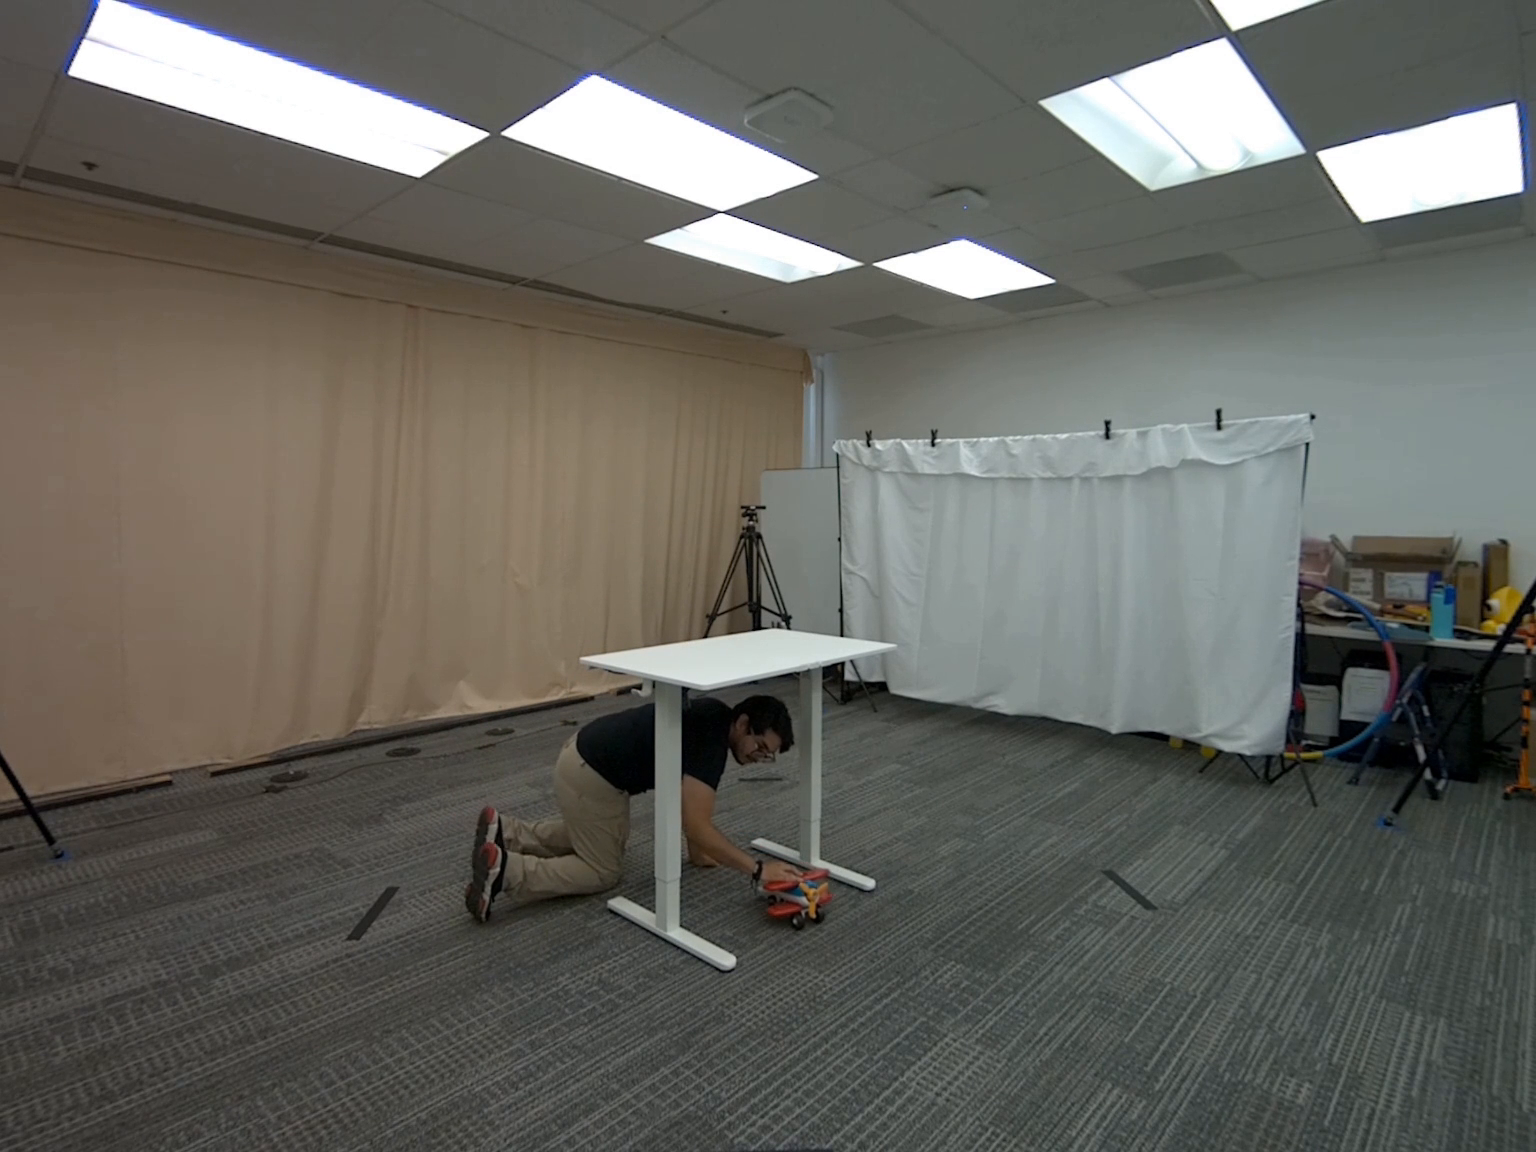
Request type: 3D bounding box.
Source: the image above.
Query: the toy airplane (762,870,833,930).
[{"bbox_3d":[0.075,1.082,2.845,0.267,0.156,0.244,4,6,30],"label":"toy airplane"}]
